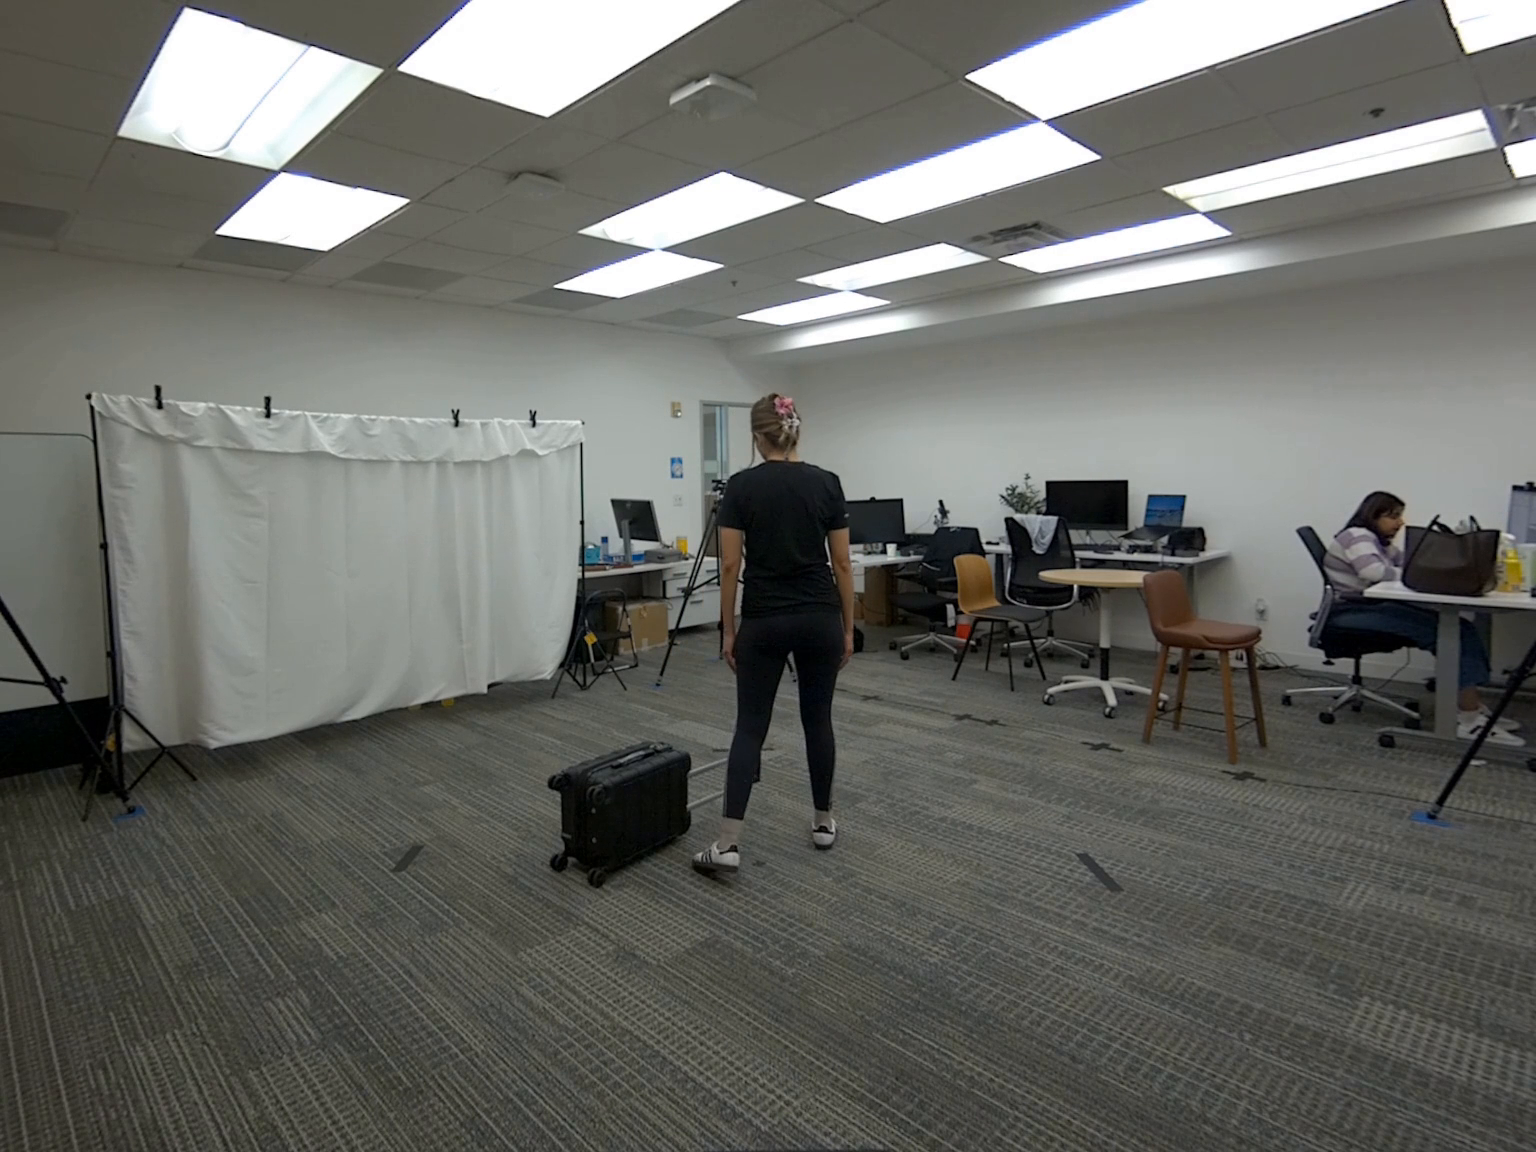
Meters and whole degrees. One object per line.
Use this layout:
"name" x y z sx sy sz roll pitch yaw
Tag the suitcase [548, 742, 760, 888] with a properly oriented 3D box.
"suitcase" -0.417 0.838 3.376 0.264 0.382 0.955 3 7 35
